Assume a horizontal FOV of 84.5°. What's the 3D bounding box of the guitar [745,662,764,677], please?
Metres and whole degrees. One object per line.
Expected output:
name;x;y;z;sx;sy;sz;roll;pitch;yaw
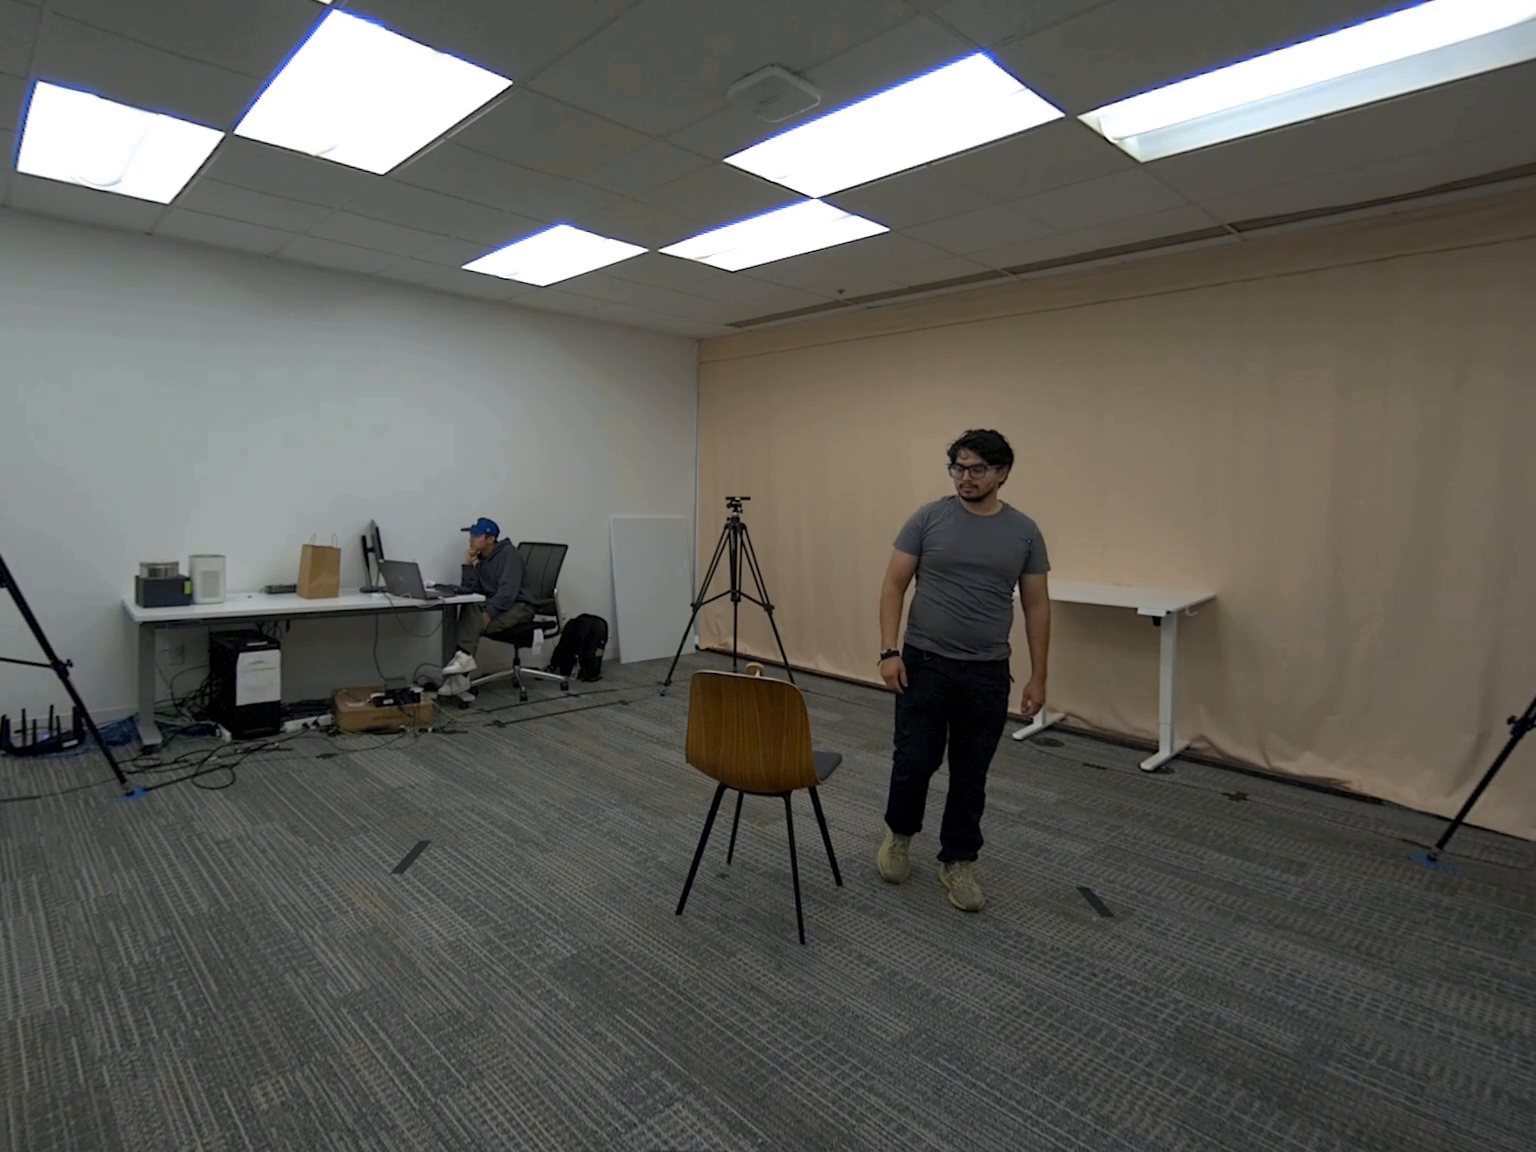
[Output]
guitar;-0.072;0.459;2.783;0.195;0.484;0.072;-2;45;17
